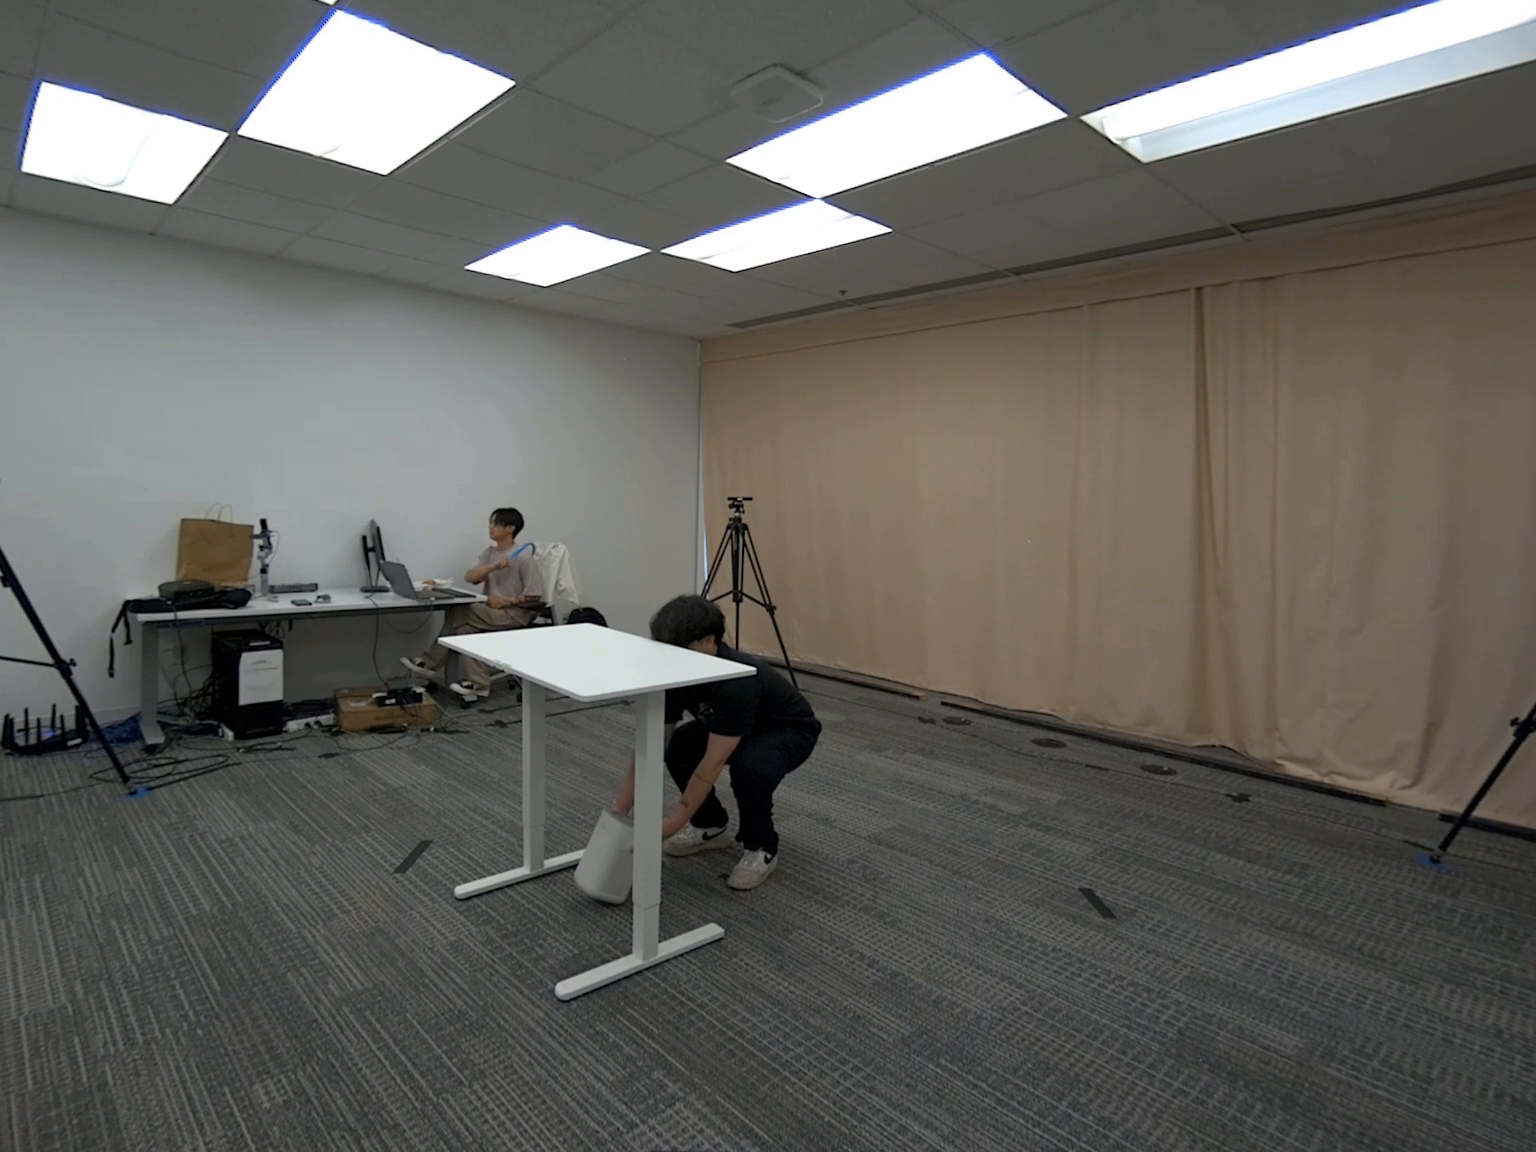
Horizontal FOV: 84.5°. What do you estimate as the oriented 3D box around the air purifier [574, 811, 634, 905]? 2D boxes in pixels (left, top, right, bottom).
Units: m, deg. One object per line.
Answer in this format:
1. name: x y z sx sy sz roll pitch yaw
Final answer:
1. air purifier: -0.540 0.971 2.903 0.167 0.266 0.175 28 -10 -34
